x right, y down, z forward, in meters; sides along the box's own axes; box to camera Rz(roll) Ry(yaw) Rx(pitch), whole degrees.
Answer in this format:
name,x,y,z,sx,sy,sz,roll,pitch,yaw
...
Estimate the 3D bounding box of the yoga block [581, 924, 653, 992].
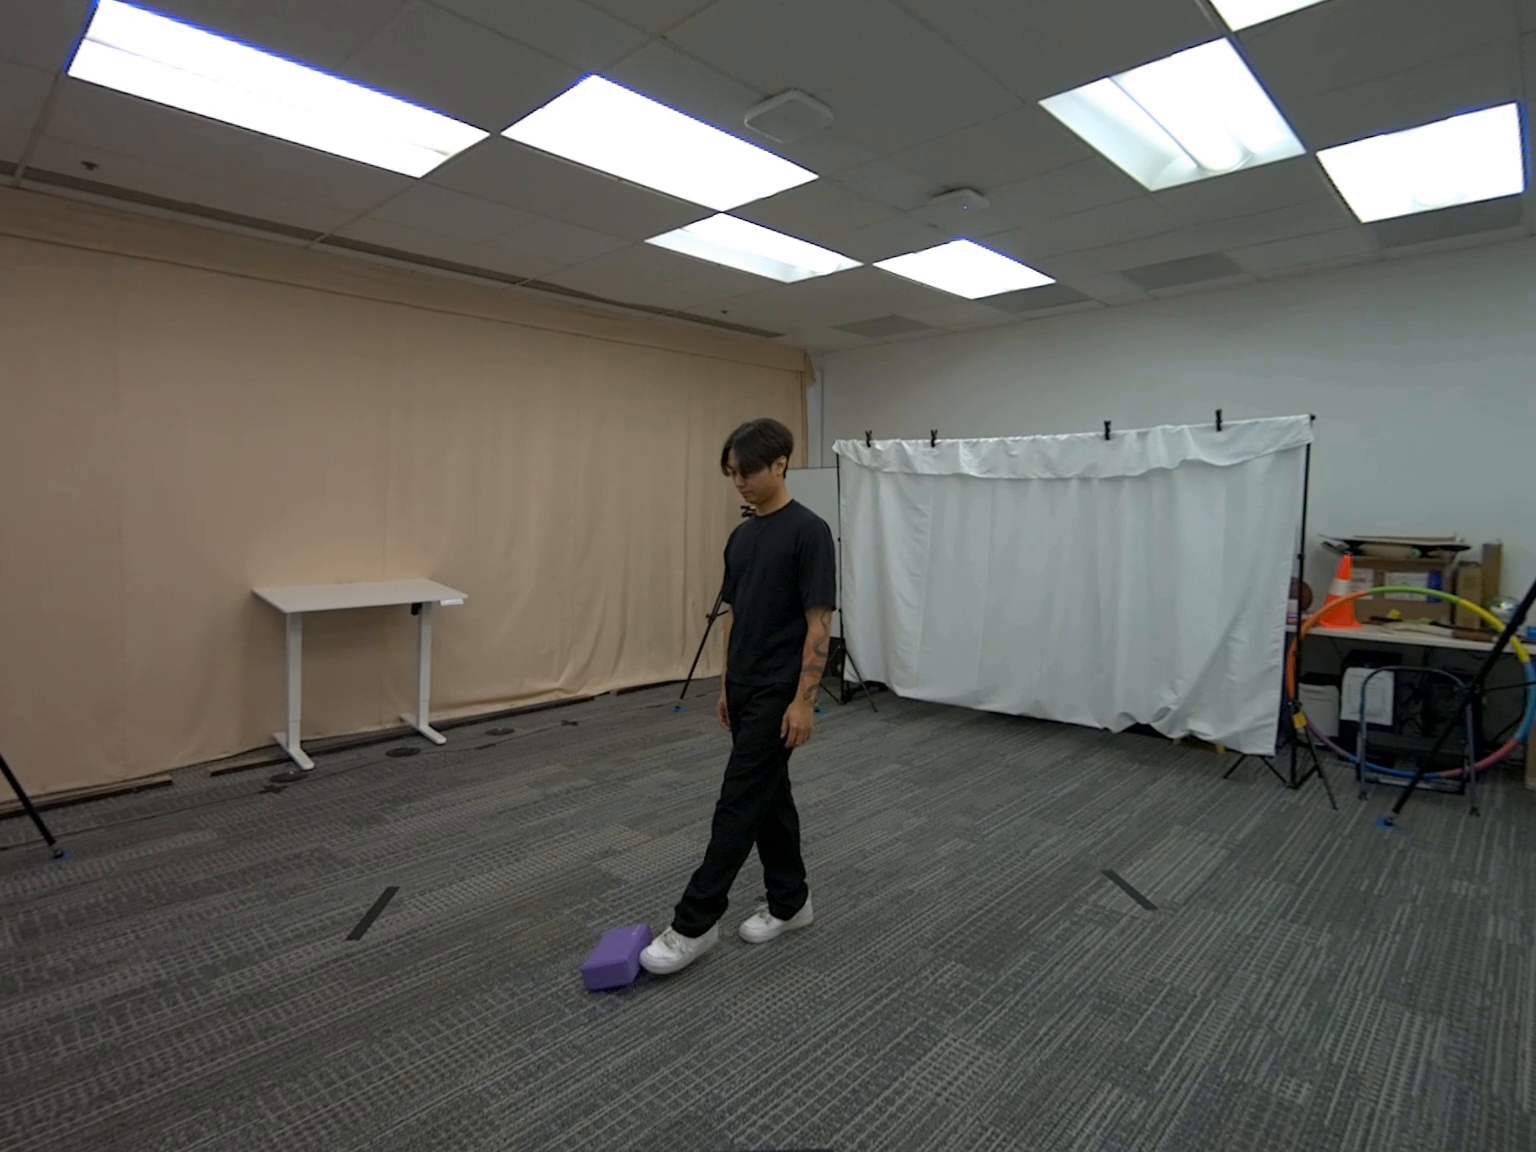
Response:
name,x,y,z,sx,sy,sz,roll,pitch,yaw
yoga block,-0.440,1.135,2.500,0.151,0.076,0.227,-14,2,12
